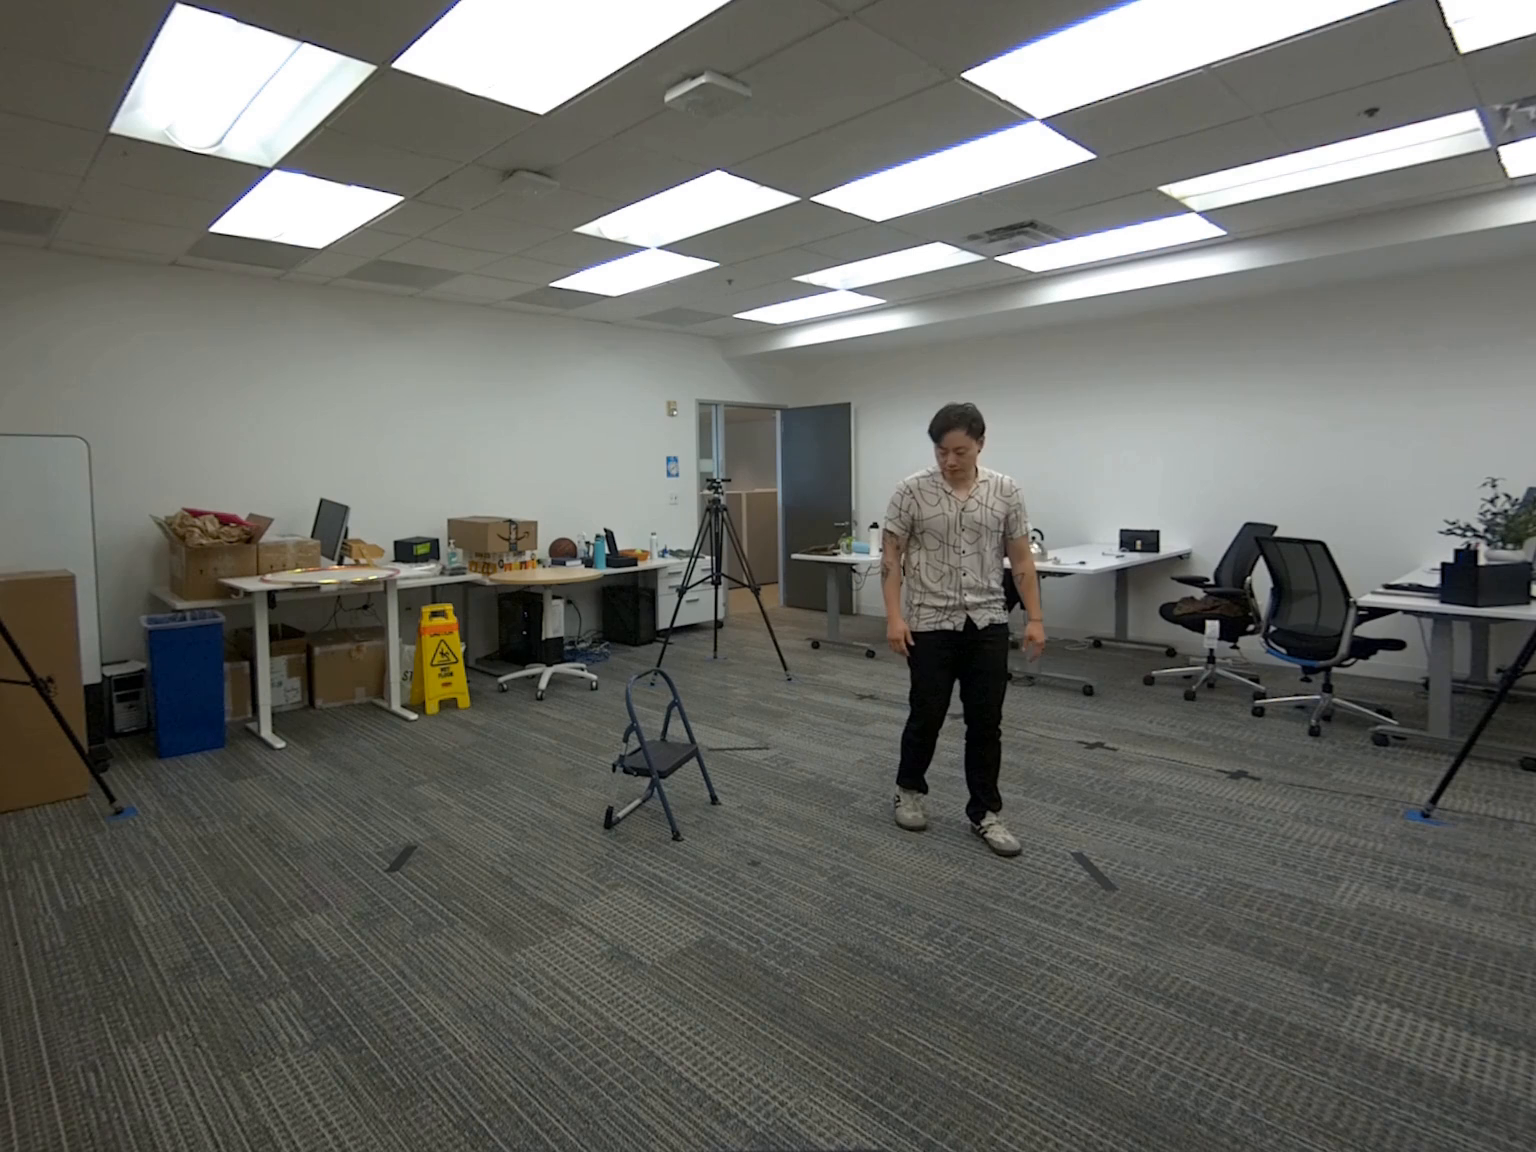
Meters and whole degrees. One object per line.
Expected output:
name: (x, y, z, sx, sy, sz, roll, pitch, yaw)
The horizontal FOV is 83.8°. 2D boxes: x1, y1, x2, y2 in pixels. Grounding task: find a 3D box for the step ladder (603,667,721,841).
step ladder: (-0.440, 0.697, 3.544, 0.356, 0.604, 0.424, 0, 4, 20)
